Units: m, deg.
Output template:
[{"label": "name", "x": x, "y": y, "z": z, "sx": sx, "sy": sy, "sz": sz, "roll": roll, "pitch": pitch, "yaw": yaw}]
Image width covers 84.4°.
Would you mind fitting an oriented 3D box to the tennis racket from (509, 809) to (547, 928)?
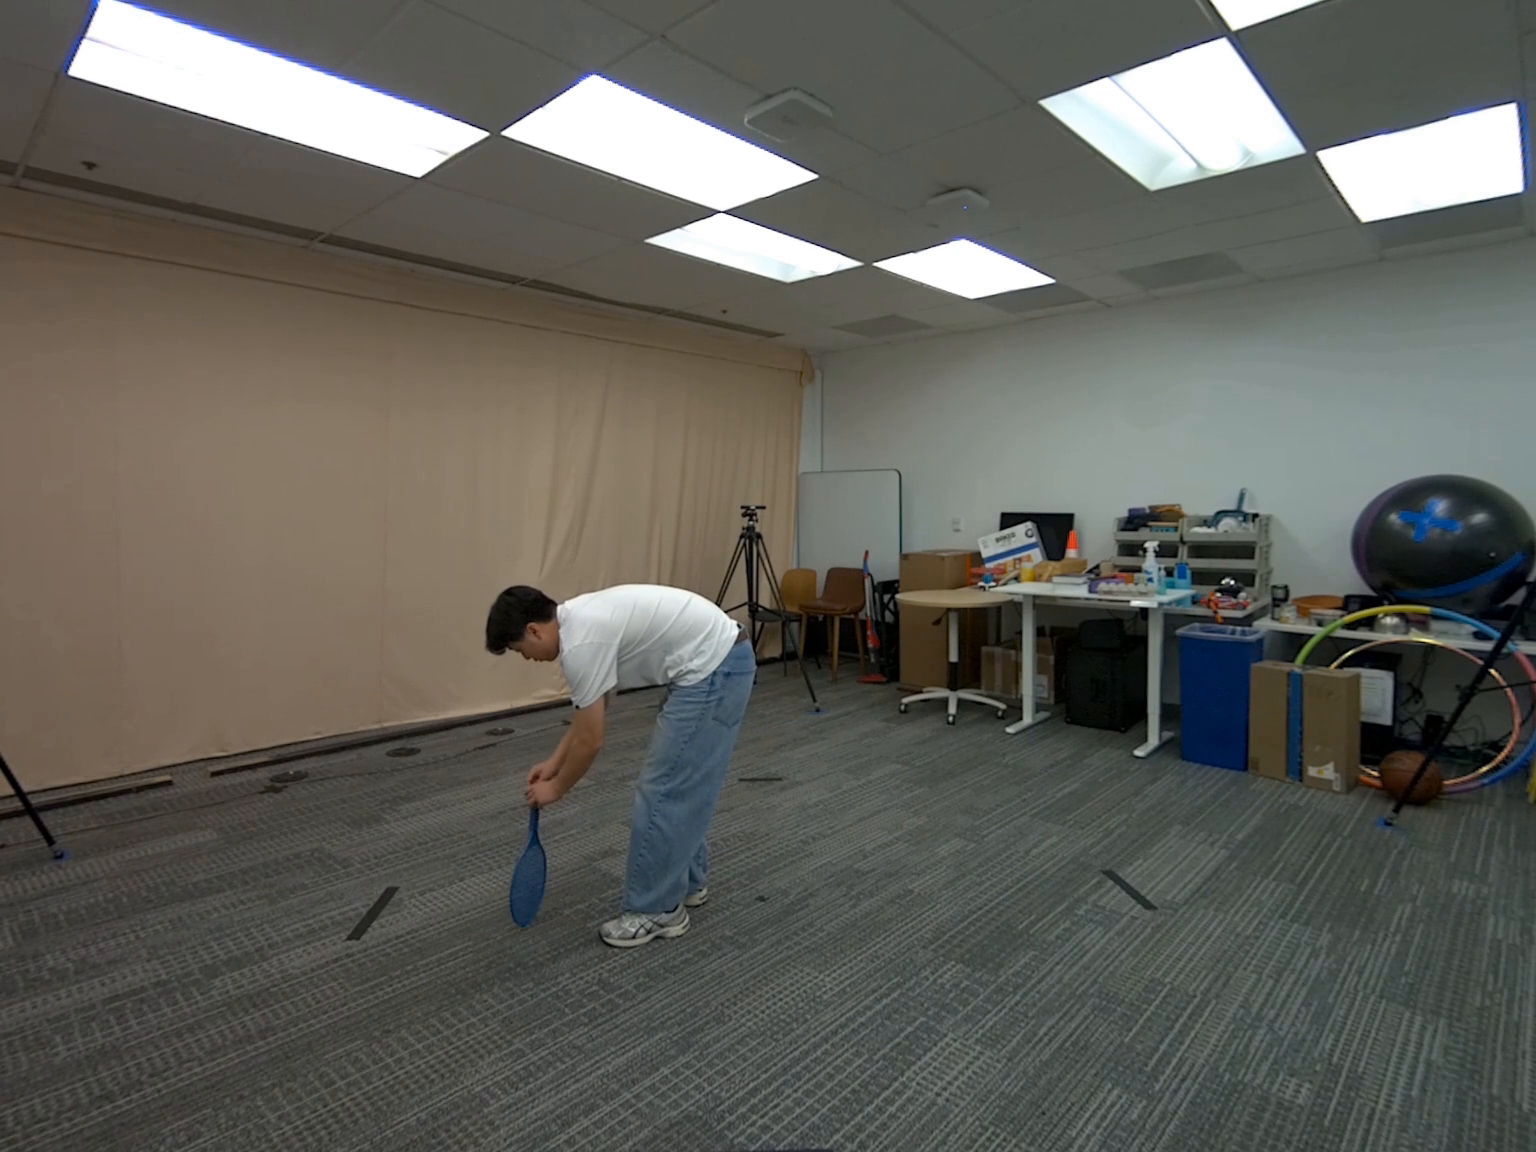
[{"label": "tennis racket", "x": -0.786, "y": 0.952, "z": 2.820, "sx": 0.032, "sy": 0.433, "sz": 0.211, "roll": 0, "pitch": -2, "yaw": 10}]
